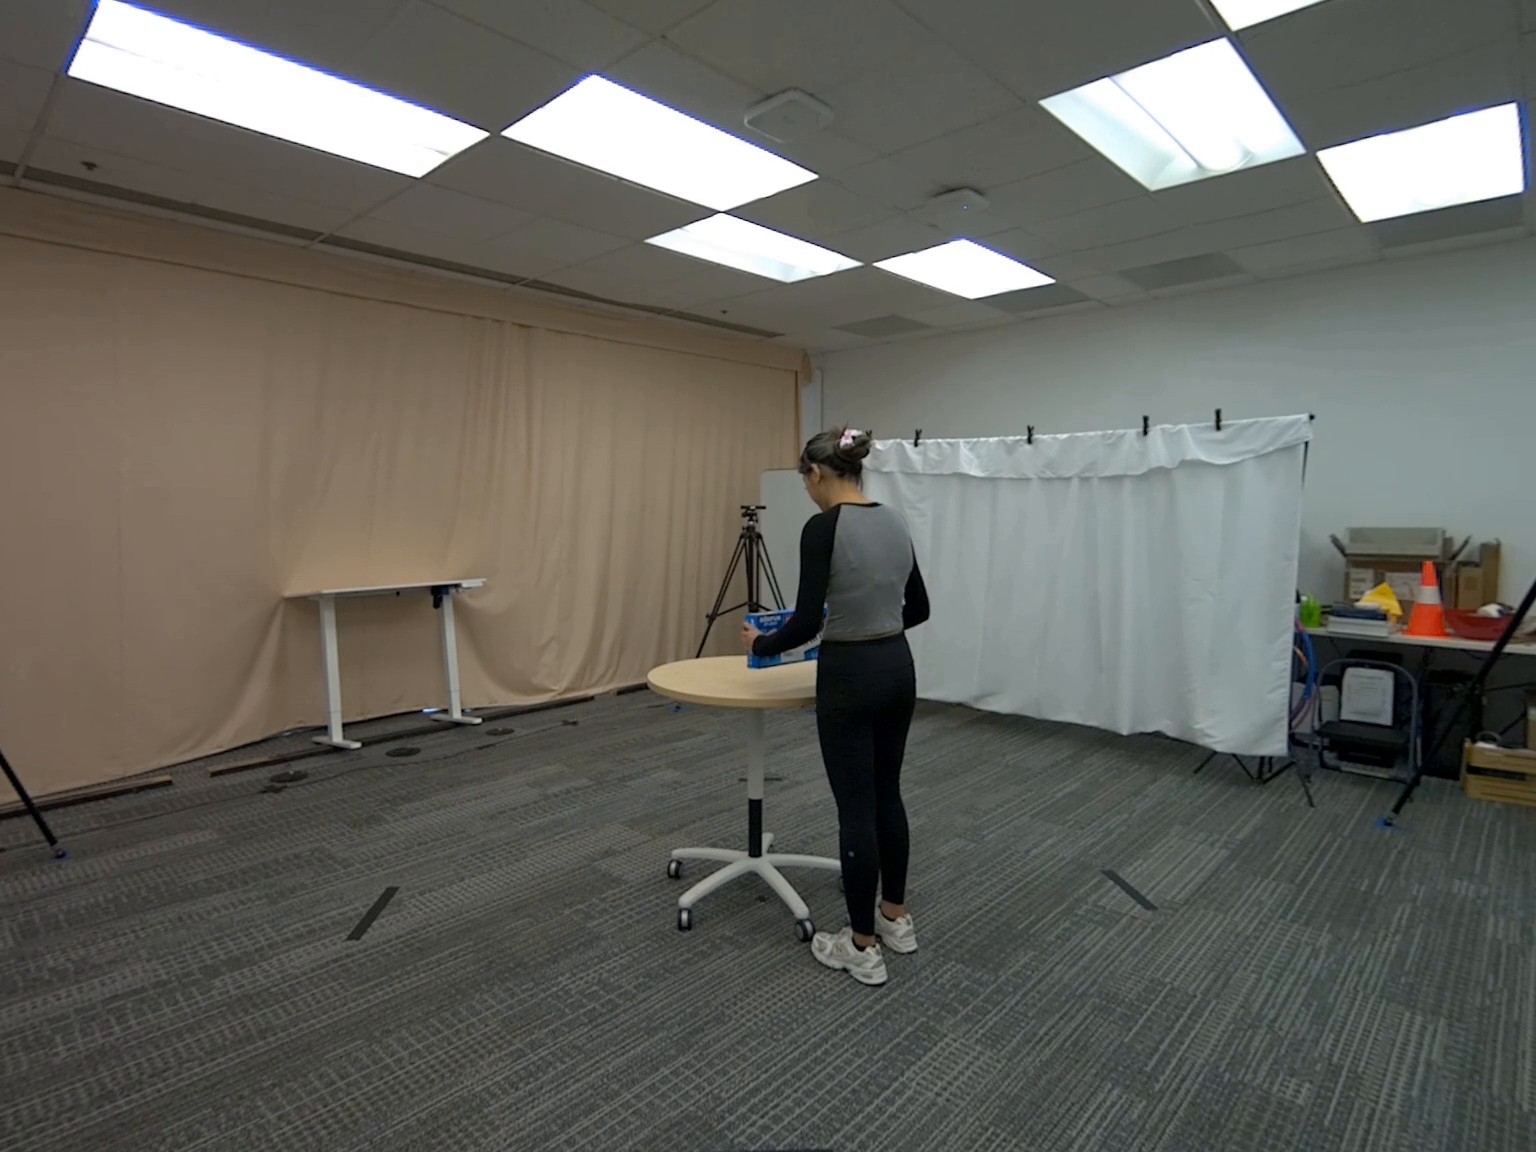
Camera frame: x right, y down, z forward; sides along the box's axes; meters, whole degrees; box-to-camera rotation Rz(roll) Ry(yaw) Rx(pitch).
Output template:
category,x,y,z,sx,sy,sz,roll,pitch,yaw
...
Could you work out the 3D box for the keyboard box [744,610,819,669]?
category,x,y,z,sx,sy,sz,roll,pitch,yaw
keyboard box,0.121,0.200,2.796,0.424,0.176,0.061,-5,2,-37
